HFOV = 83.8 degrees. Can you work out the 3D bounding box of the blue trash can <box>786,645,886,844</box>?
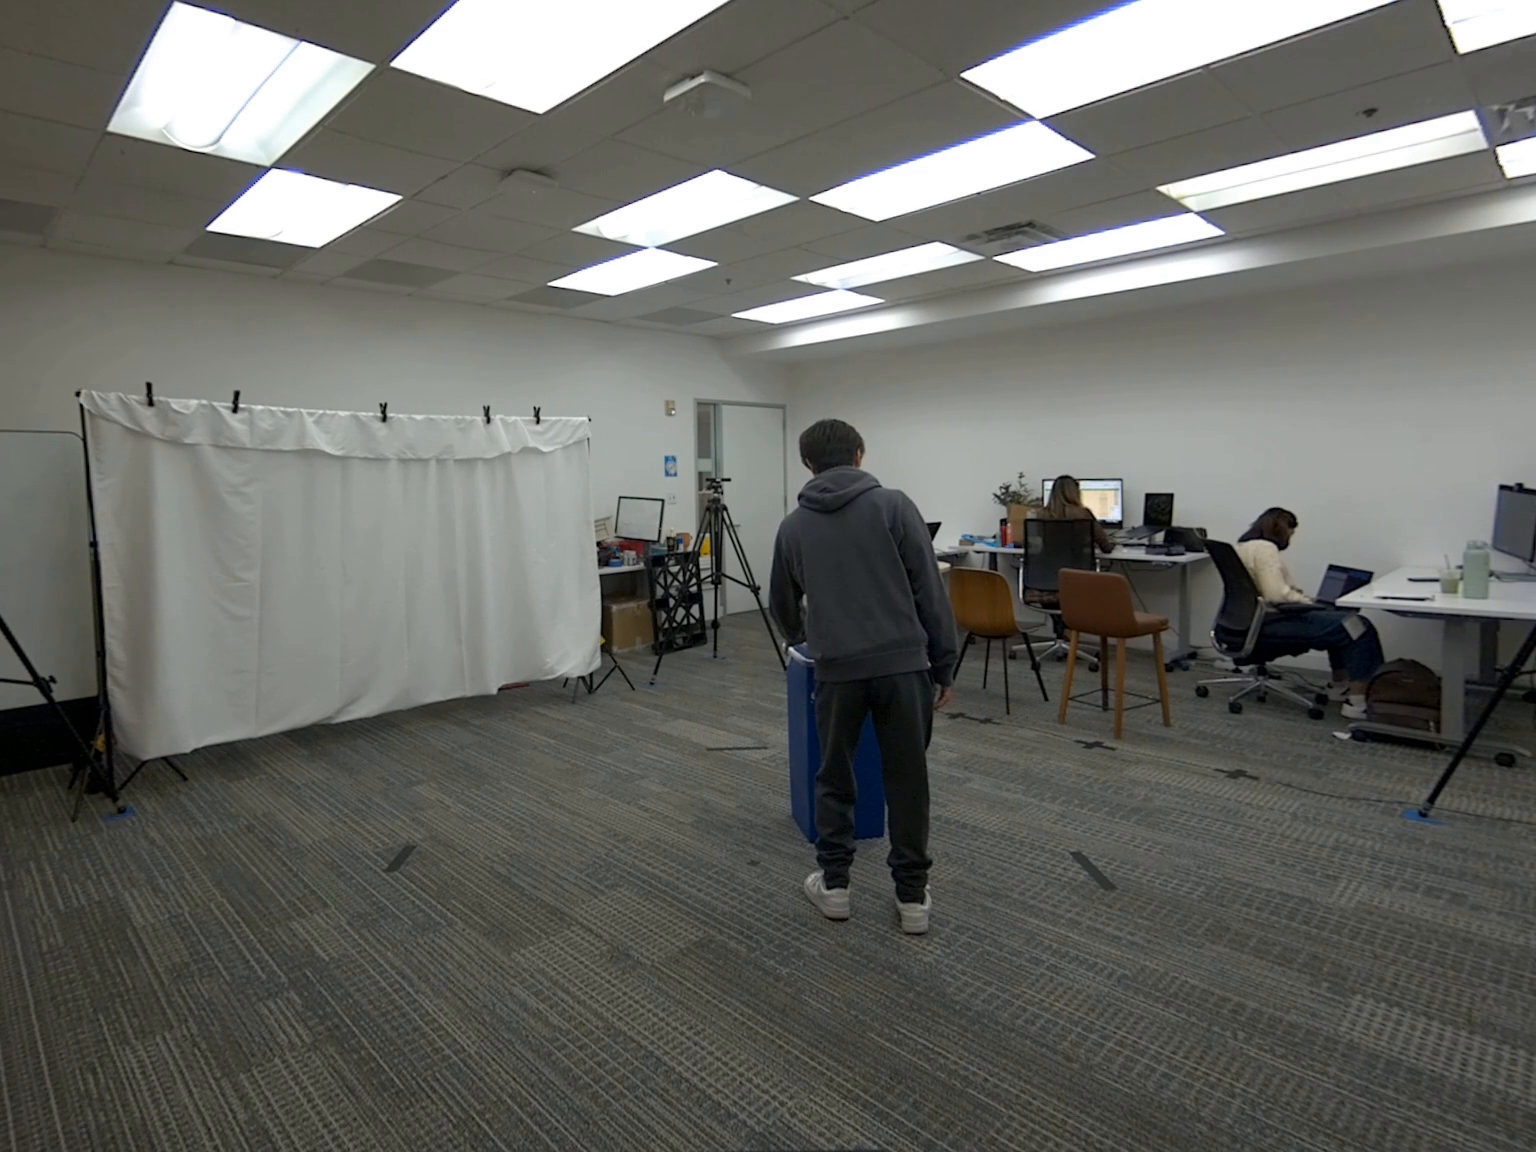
[{"bbox_3d":[0.280,0.643,3.405,0.370,0.710,0.384,-2,5,-11],"label":"blue trash can"}]
